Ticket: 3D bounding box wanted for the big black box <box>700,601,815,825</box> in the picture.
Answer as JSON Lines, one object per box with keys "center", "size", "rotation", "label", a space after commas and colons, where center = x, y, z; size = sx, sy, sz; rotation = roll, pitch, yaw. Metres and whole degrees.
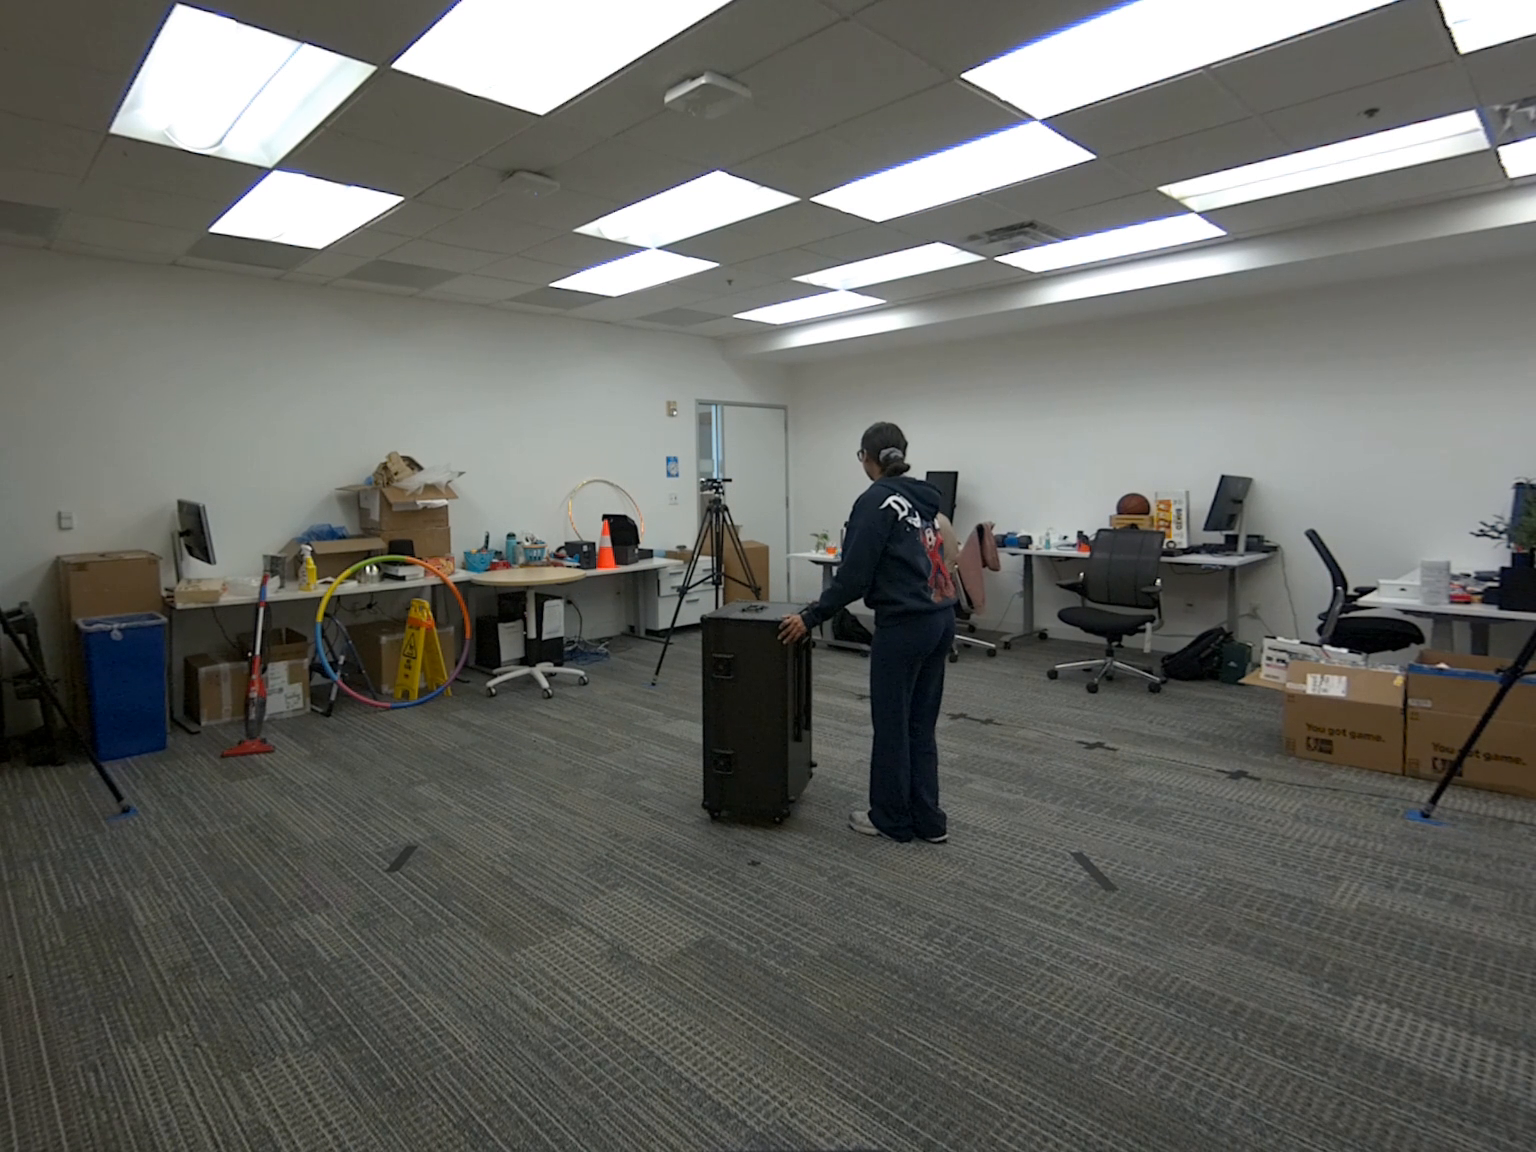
{"center": [-0.022, 0.565, 3.600], "size": [0.403, 0.858, 0.514], "rotation": [2, 5, 17], "label": "big black box"}
